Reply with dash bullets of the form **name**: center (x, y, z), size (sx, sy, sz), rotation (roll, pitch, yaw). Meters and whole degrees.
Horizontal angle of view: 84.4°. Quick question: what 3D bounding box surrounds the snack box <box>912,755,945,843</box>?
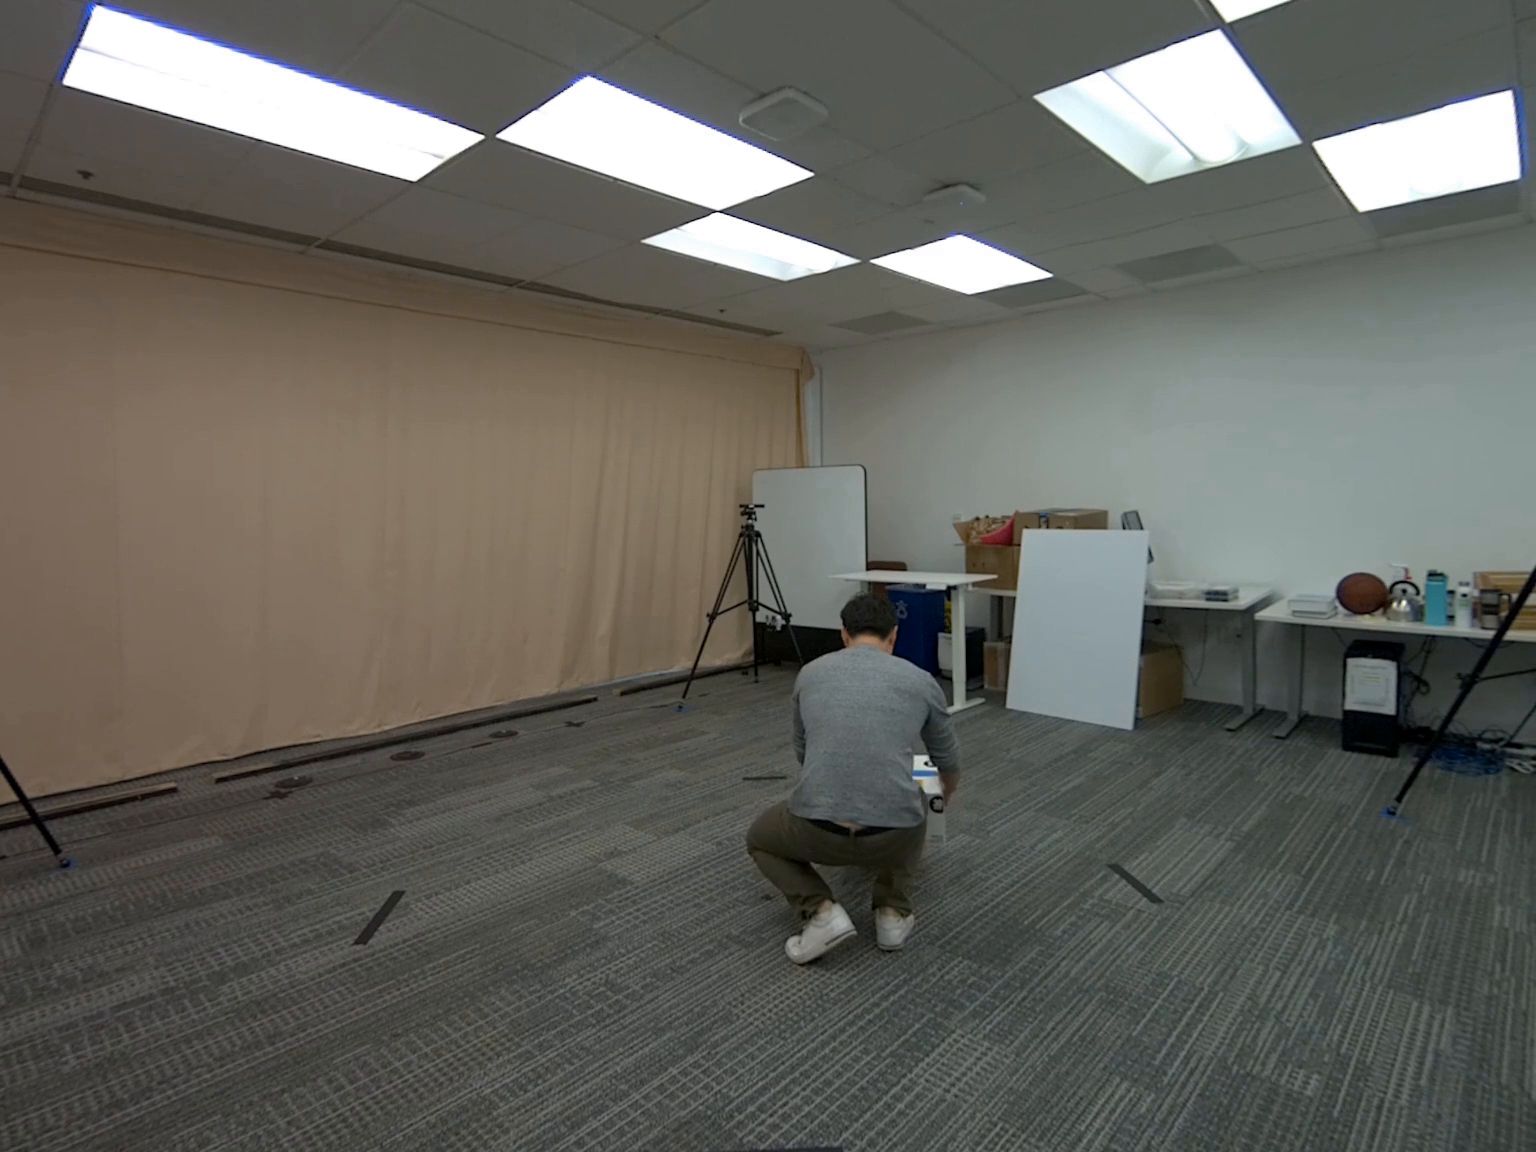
- **snack box**: center (0.451, 0.843, 3.171), size (0.410, 0.204, 0.338), rotation (-2, 10, 11)
